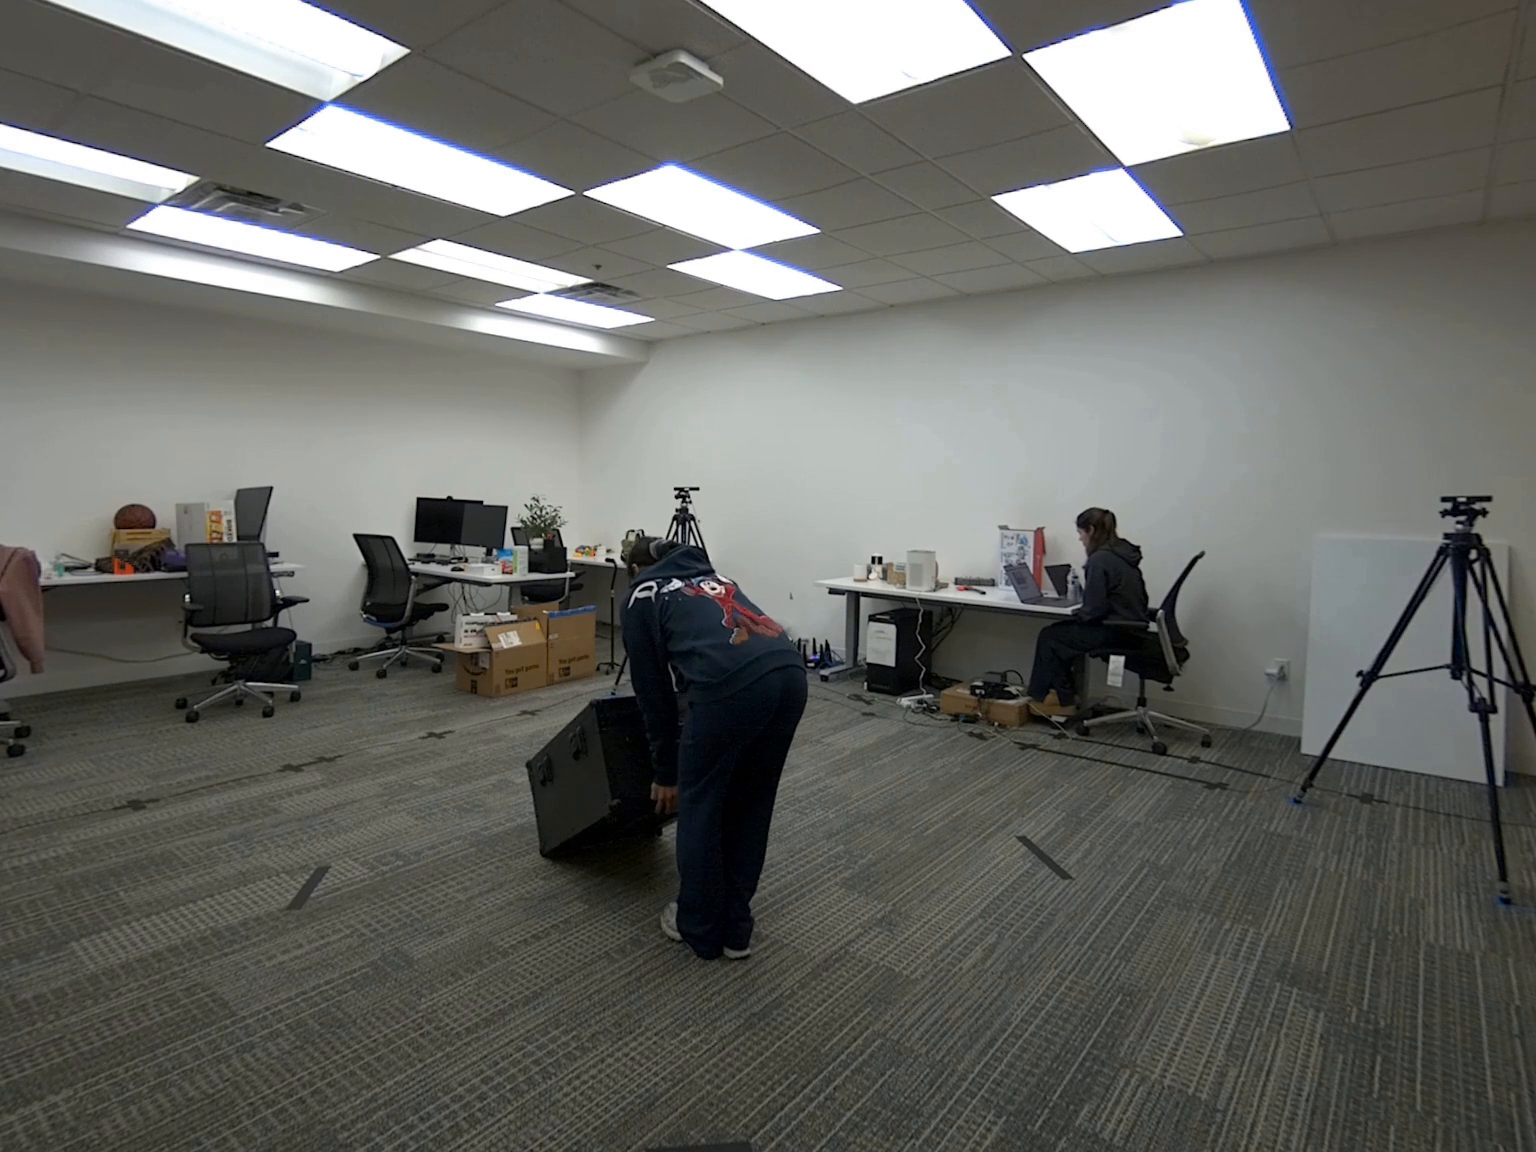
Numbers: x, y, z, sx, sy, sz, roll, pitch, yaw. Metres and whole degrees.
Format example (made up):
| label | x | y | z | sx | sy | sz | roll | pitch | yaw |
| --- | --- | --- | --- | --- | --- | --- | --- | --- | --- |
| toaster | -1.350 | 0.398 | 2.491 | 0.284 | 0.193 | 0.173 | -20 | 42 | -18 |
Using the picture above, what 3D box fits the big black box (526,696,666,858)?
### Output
| label | x | y | z | sx | sy | sz | roll | pitch | yaw |
| --- | --- | --- | --- | --- | --- | --- | --- | --- | --- |
| big black box | -0.560 | 0.720 | 3.107 | 0.385 | 0.534 | 0.864 | -3 | -23 | -33 |
